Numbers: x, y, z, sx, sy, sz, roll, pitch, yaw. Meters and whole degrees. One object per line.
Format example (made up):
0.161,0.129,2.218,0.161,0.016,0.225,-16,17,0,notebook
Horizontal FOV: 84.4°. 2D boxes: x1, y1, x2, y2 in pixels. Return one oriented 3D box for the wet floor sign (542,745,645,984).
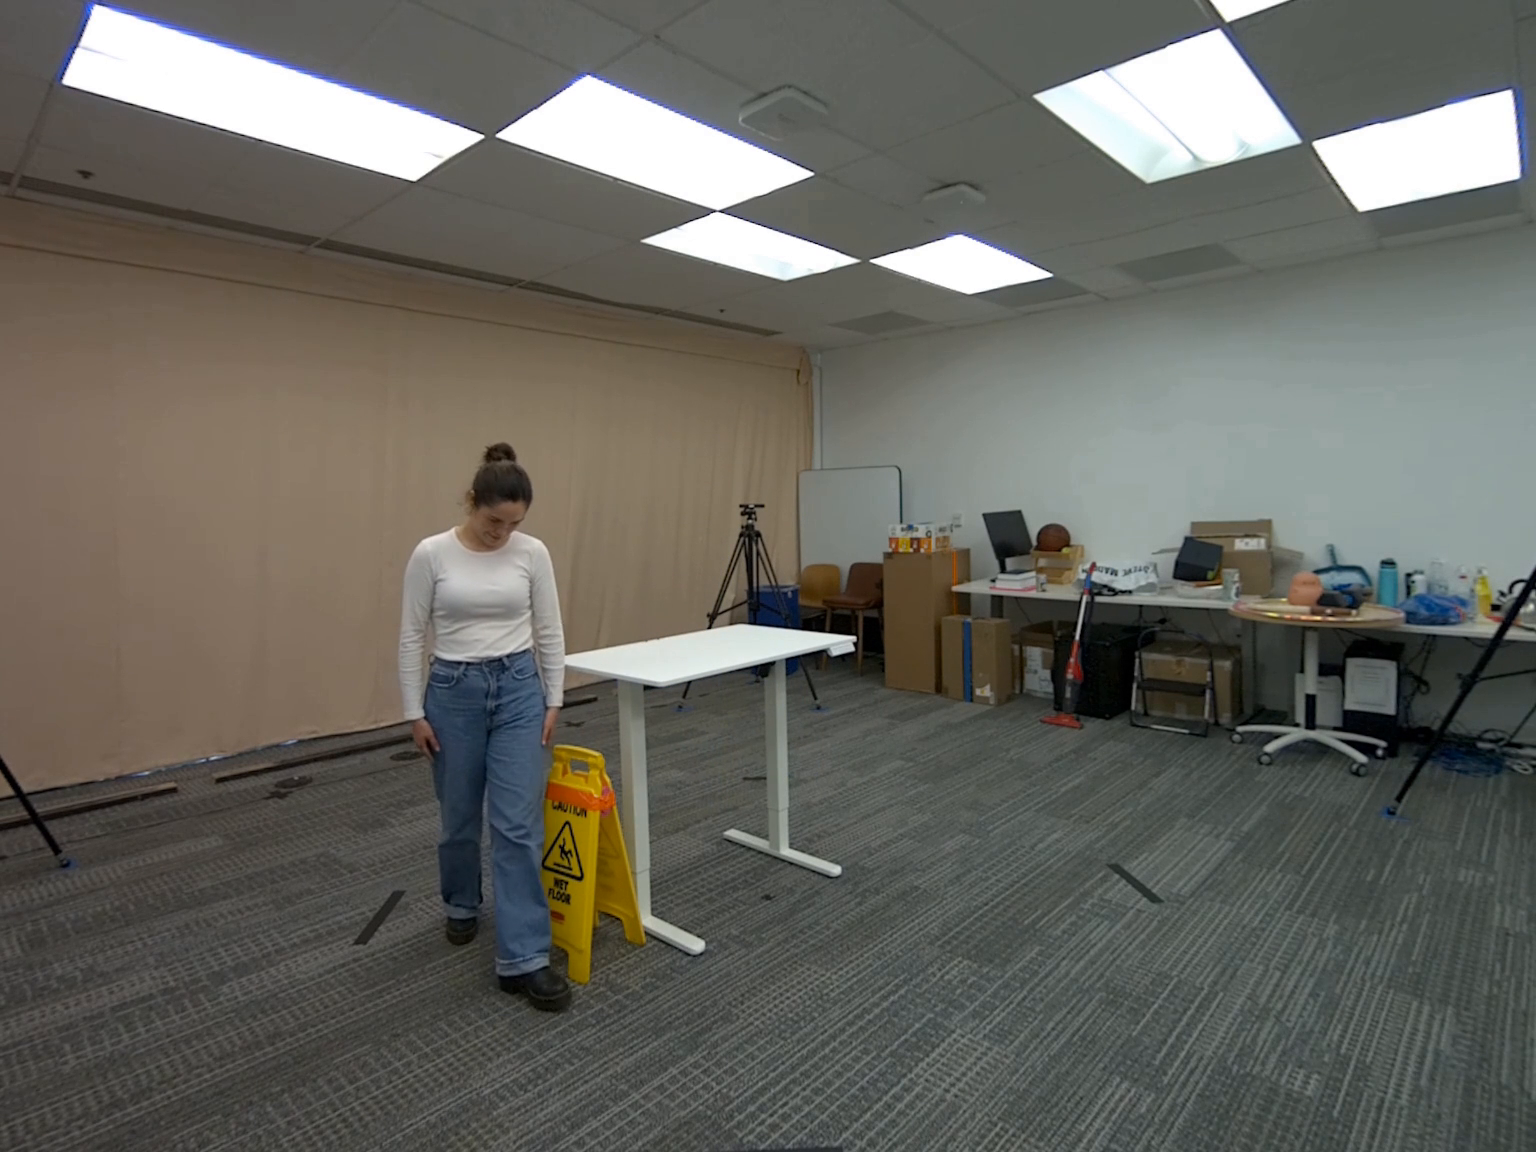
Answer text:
-0.586,0.861,2.624,0.291,0.645,0.282,0,4,33,wet floor sign
